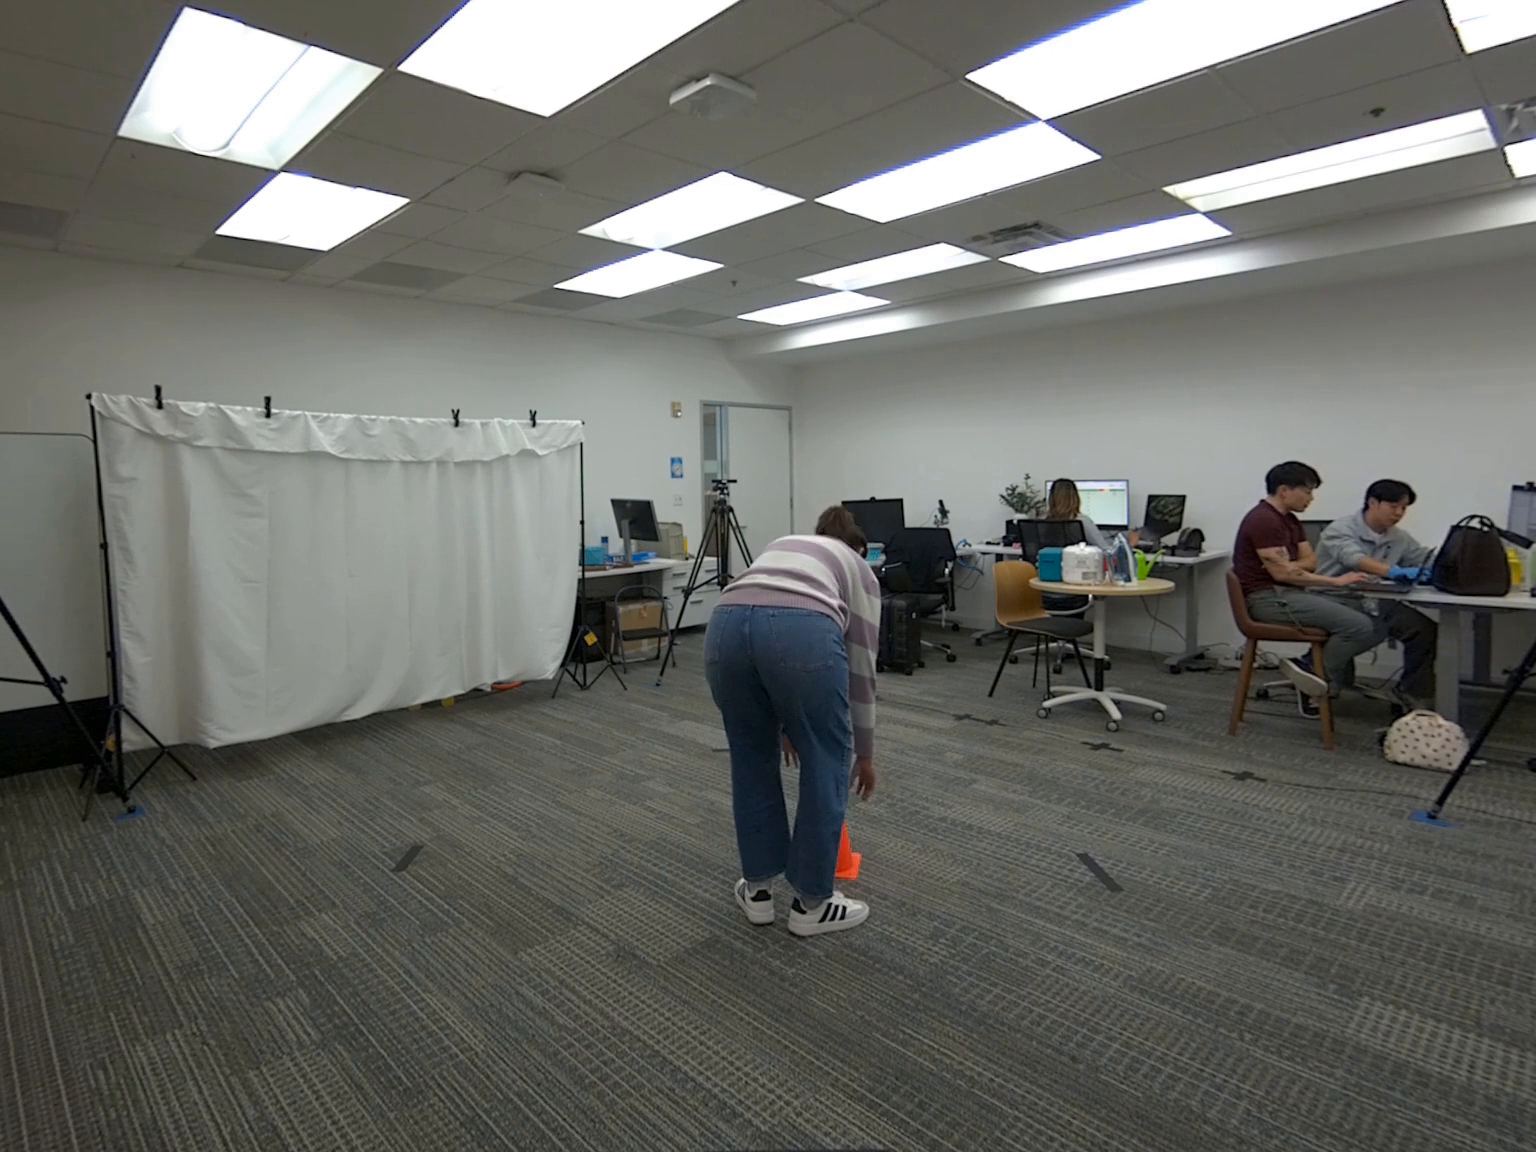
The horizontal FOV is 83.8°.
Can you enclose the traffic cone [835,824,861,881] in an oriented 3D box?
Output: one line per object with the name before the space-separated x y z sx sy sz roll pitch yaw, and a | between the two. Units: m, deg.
traffic cone | 0.229 0.860 3.077 0.206 0.382 0.203 -1 4 11
